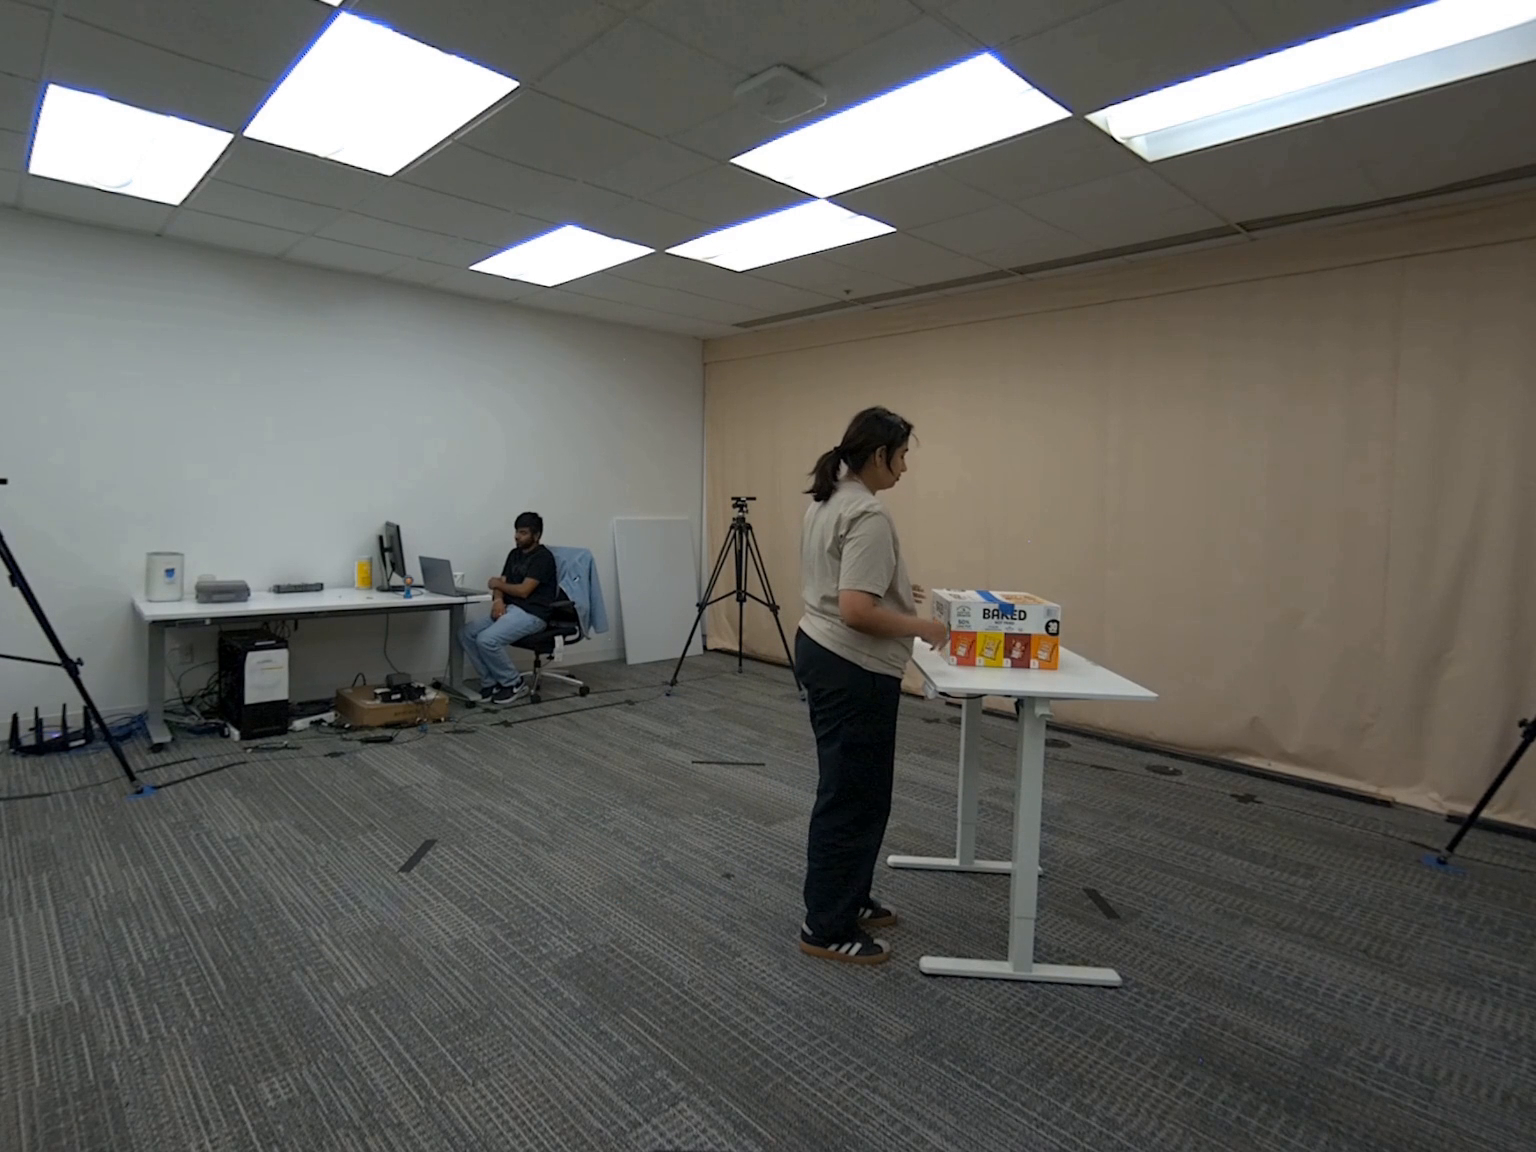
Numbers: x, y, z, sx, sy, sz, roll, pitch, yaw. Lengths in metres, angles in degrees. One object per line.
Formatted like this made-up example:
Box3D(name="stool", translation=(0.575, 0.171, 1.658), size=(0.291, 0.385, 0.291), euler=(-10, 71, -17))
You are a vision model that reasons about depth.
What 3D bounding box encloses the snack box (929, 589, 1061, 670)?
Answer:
Box3D(name="snack box", translation=(0.744, 0.173, 2.837), size=(0.341, 0.205, 0.405), euler=(3, 4, 3))
